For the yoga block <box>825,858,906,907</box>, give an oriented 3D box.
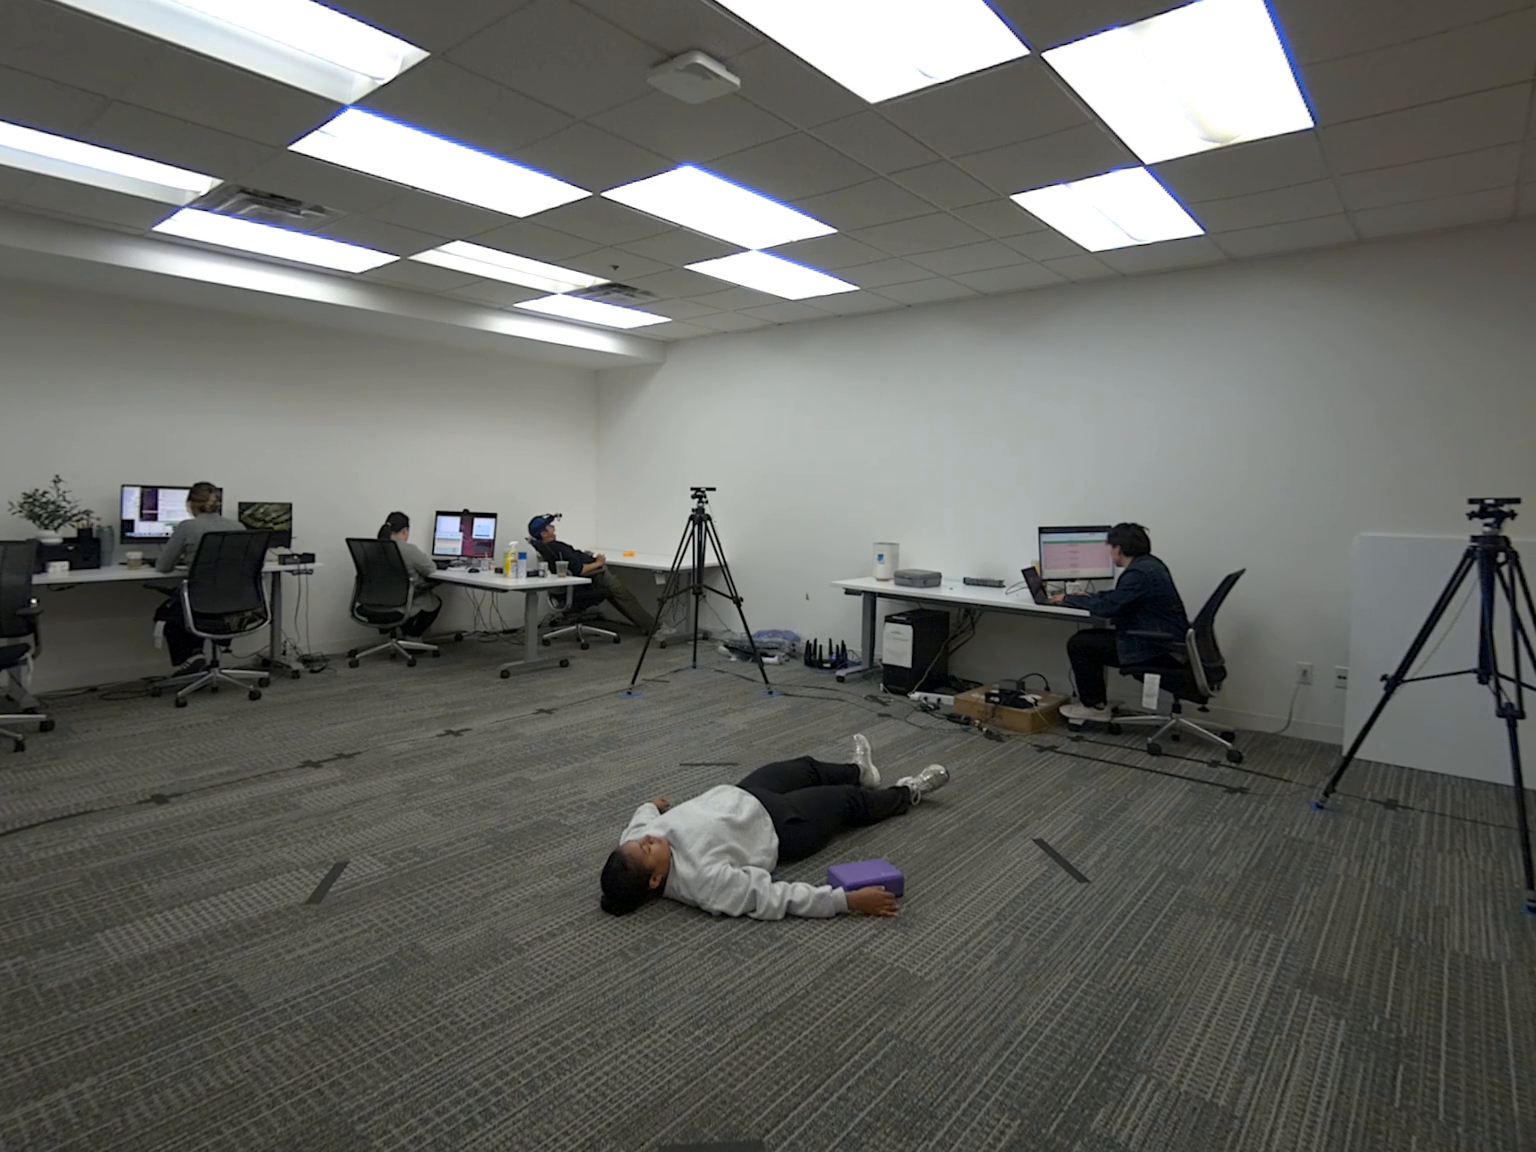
[{"bbox_3d":[0.333,1.055,2.951,0.224,0.076,0.153,0,5,-23],"label":"yoga block"}]
